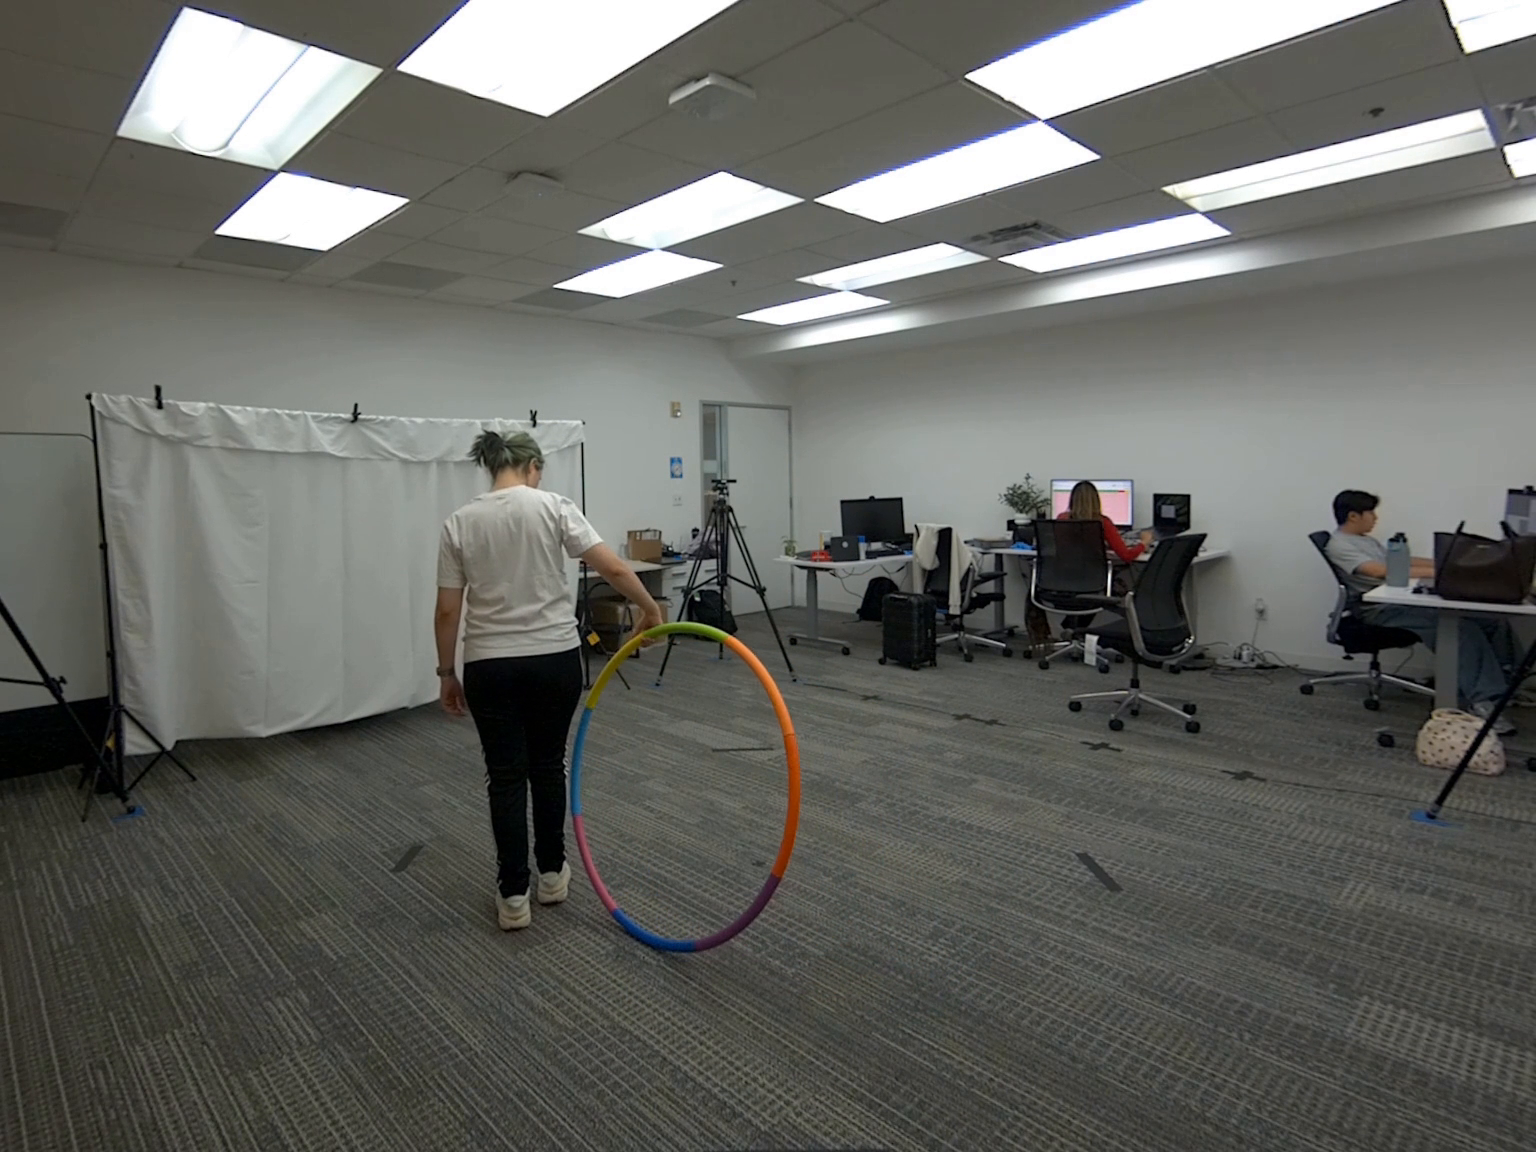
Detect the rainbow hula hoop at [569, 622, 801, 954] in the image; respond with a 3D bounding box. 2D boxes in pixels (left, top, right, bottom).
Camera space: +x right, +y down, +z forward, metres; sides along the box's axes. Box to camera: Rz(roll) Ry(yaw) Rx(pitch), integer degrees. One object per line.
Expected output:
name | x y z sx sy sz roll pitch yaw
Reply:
rainbow hula hoop | -0.296 0.635 2.646 1.008 0.984 0.034 3 -9 42
